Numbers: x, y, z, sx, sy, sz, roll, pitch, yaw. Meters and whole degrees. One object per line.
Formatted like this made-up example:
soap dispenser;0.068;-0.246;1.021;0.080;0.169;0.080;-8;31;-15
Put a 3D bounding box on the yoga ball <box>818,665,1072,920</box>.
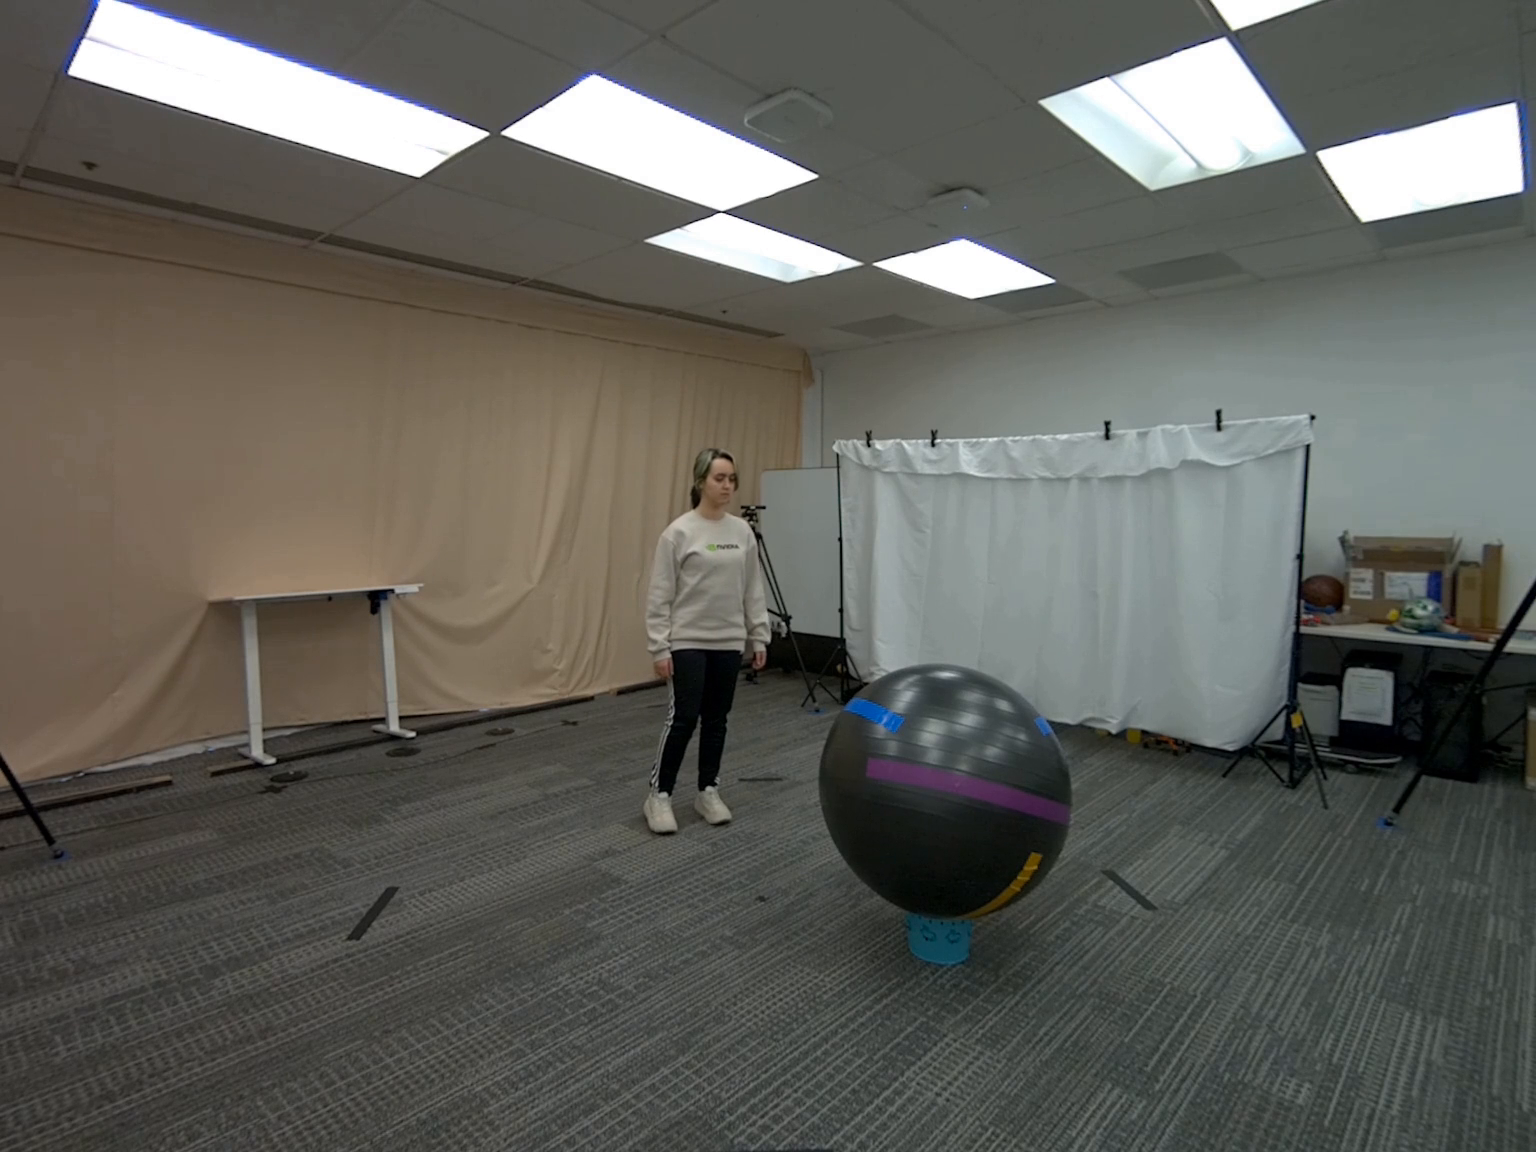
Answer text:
yoga ball;0.540;0.659;2.630;0.757;0.756;0.760;0;4;-2
